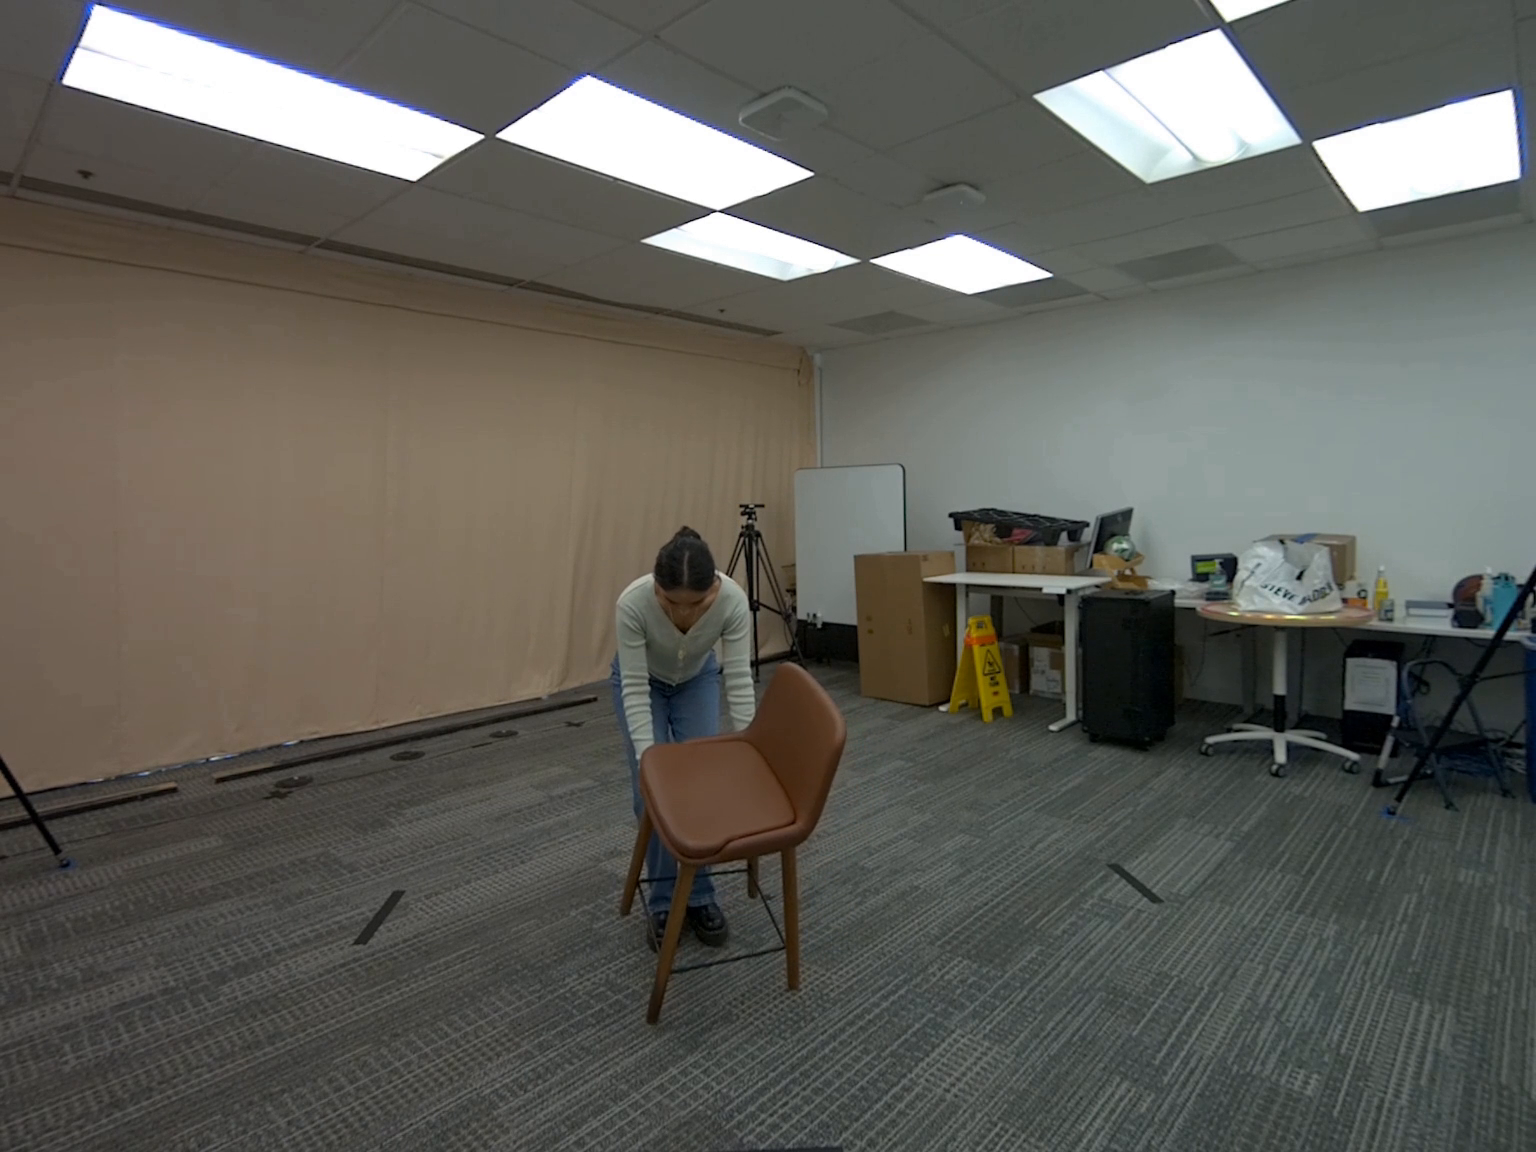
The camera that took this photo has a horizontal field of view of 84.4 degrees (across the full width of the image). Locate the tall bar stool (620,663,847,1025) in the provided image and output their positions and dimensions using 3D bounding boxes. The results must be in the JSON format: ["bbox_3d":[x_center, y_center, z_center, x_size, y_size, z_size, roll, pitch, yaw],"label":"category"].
[{"bbox_3d":[-0.117,0.729,2.341,0.458,0.881,0.470,1,23,-22],"label":"tall bar stool"}]
